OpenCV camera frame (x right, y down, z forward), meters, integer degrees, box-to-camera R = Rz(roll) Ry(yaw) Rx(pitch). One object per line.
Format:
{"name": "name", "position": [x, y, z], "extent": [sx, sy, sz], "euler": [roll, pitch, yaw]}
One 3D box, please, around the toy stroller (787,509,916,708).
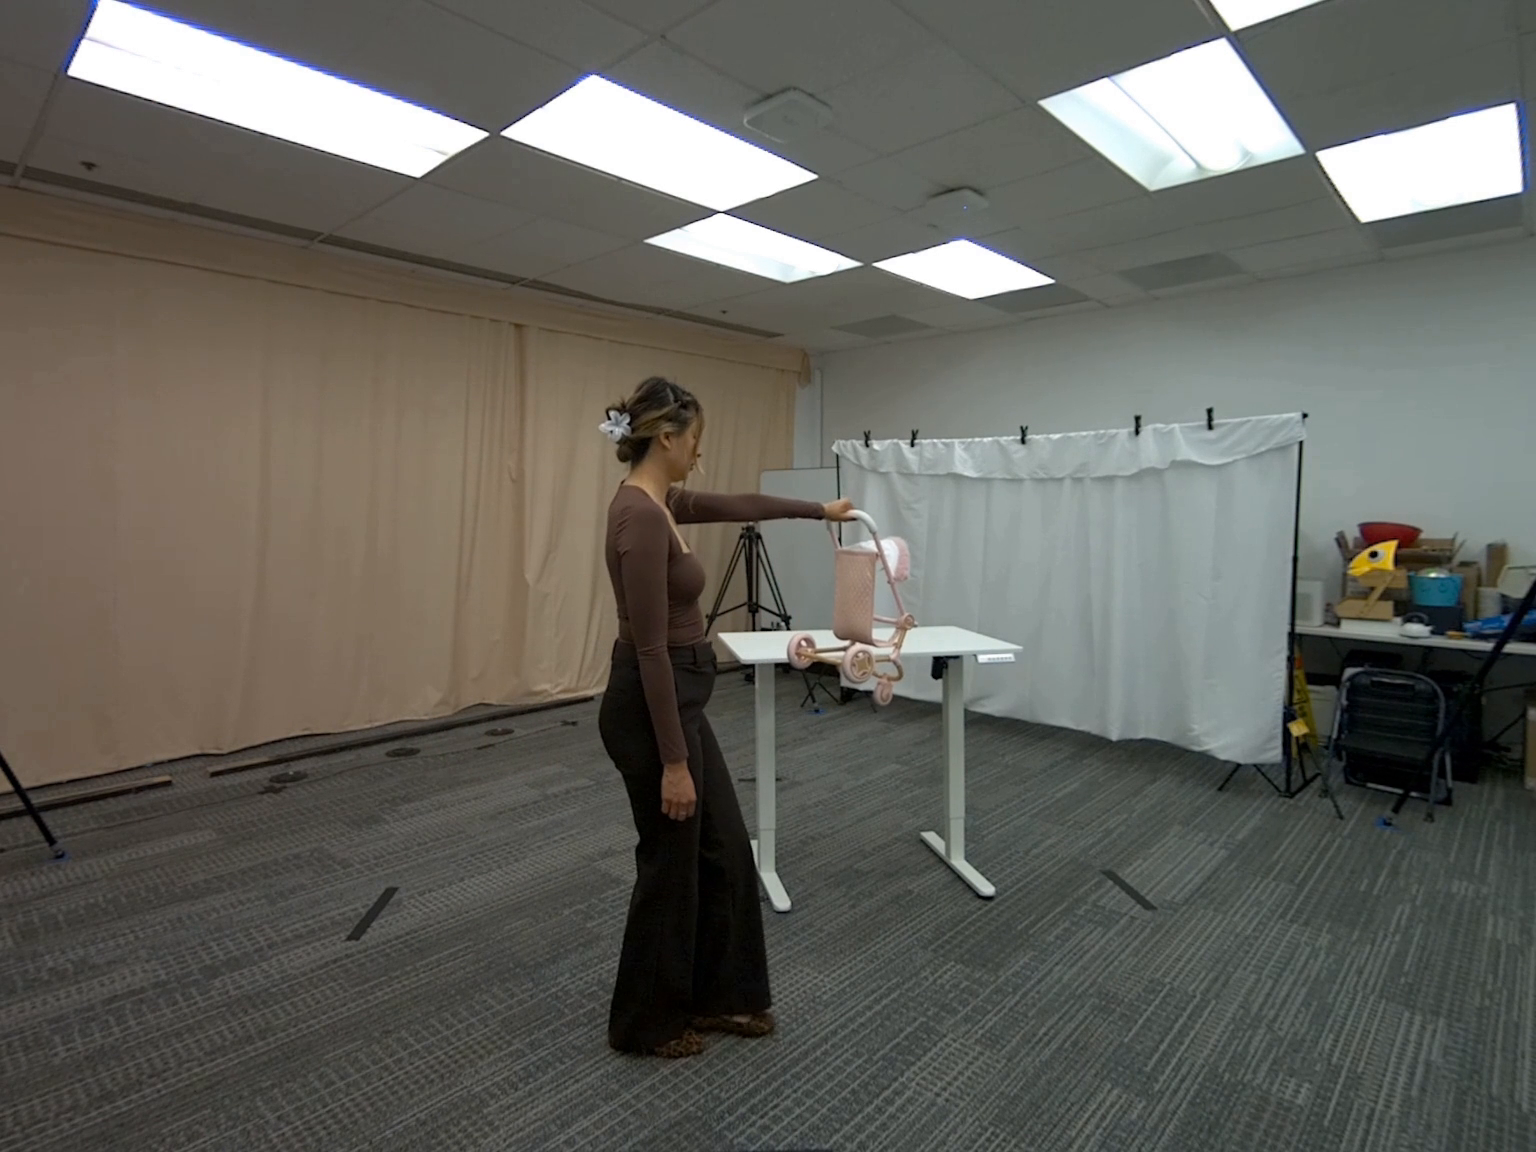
{"name": "toy stroller", "position": [0.306, 0.109, 2.505], "extent": [0.331, 0.536, 0.290], "euler": [15, -6, -31]}
